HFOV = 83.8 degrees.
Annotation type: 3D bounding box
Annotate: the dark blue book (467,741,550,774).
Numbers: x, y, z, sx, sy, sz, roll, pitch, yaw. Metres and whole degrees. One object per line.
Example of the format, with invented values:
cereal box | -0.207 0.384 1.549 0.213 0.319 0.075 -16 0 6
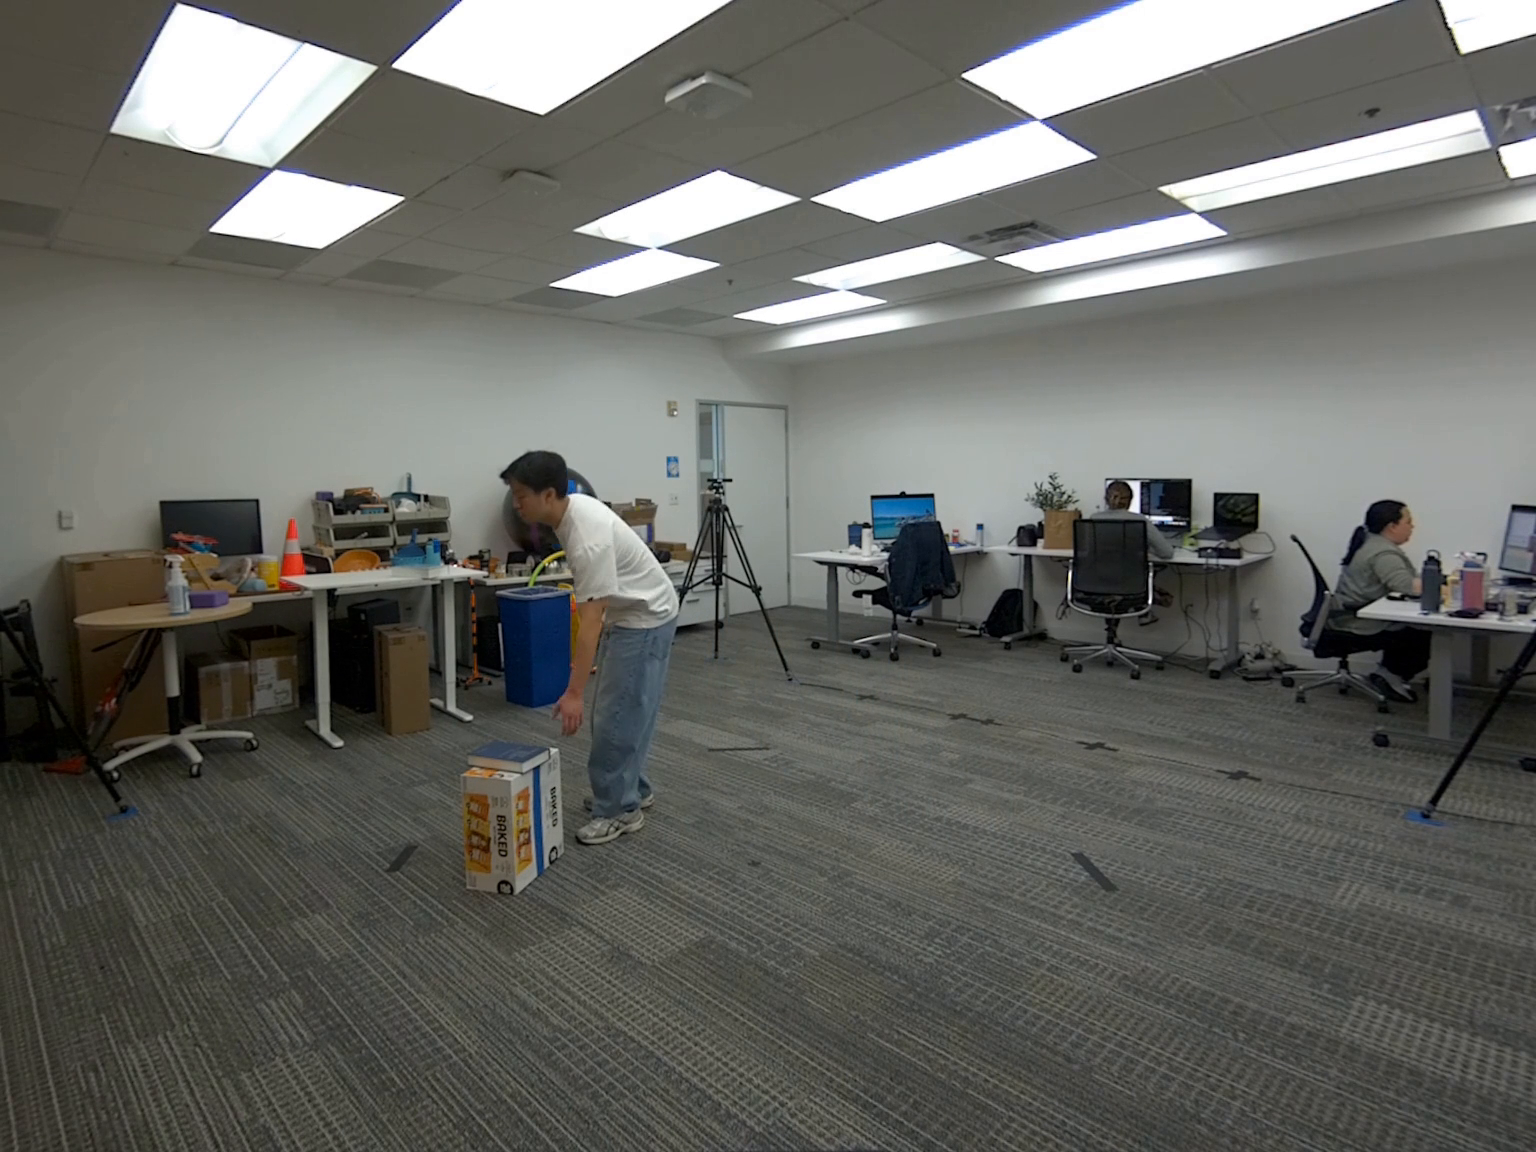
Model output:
dark blue book | -0.928 0.646 3.050 0.250 0.045 0.161 3 7 22
